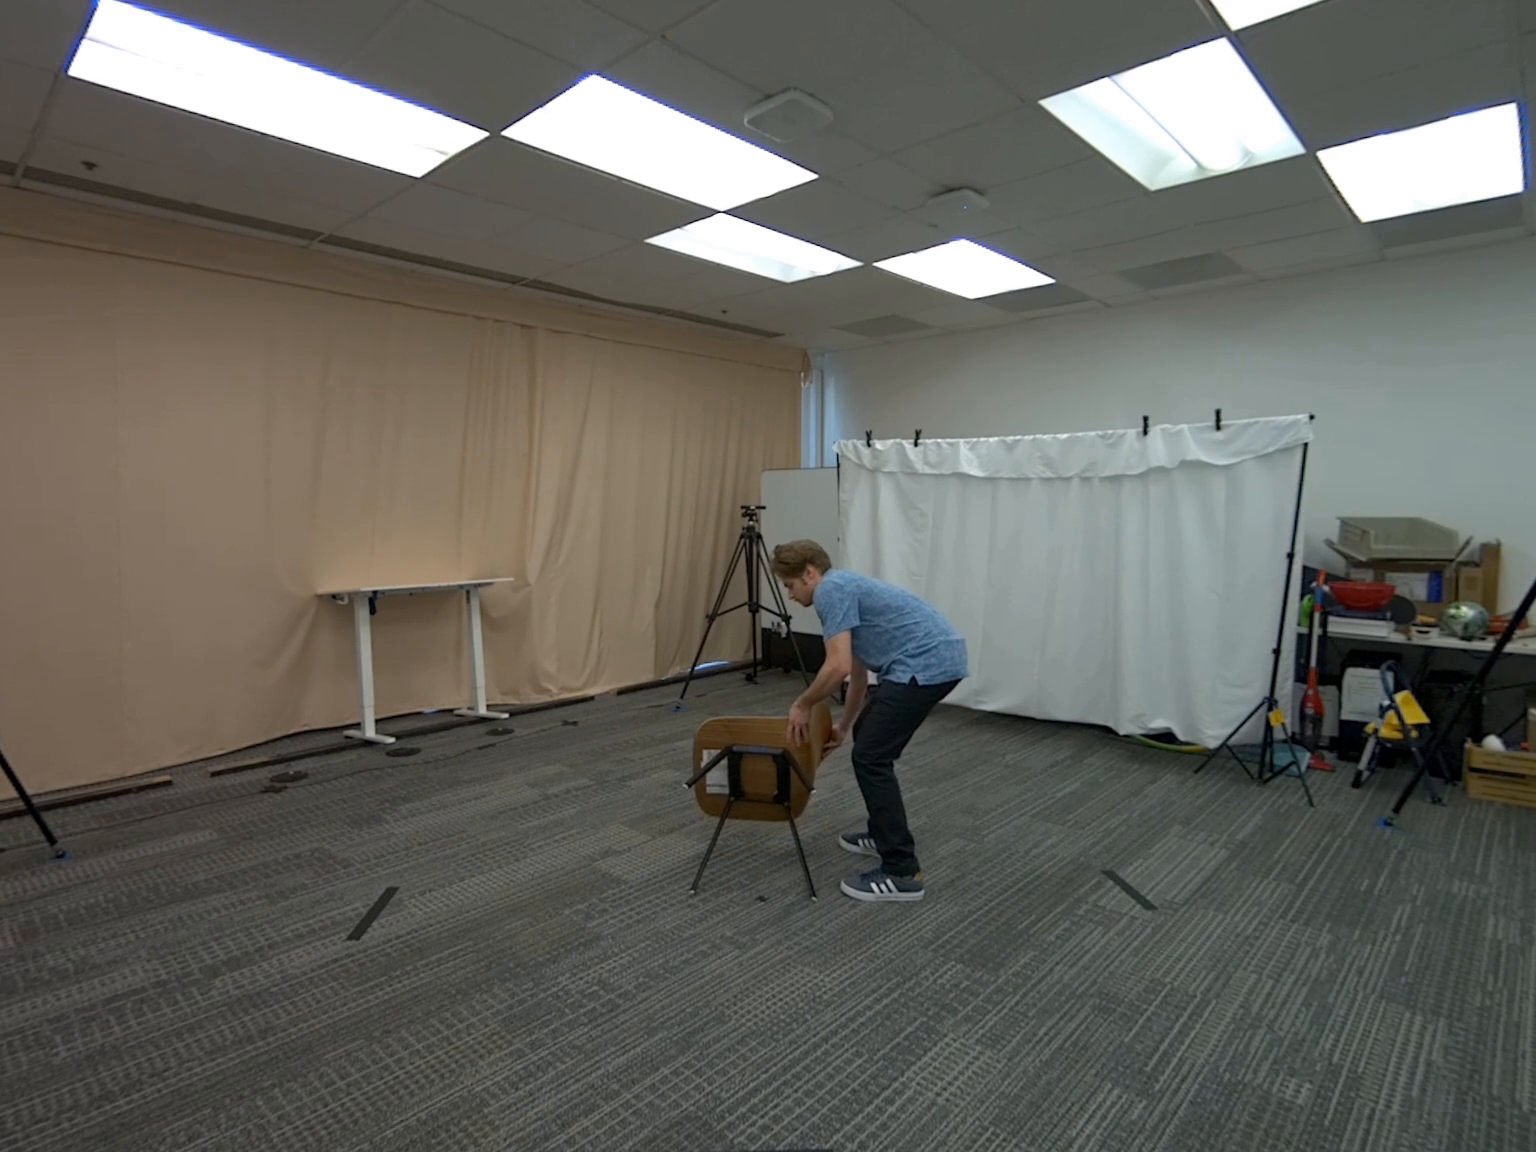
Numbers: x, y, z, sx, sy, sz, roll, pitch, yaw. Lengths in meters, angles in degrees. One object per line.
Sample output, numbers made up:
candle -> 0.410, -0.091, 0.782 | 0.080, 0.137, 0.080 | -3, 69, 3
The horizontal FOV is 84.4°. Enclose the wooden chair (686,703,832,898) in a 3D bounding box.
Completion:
wooden chair -> -0.036, 0.796, 3.321 | 0.529, 0.472, 0.877 | 1, 19, 9
